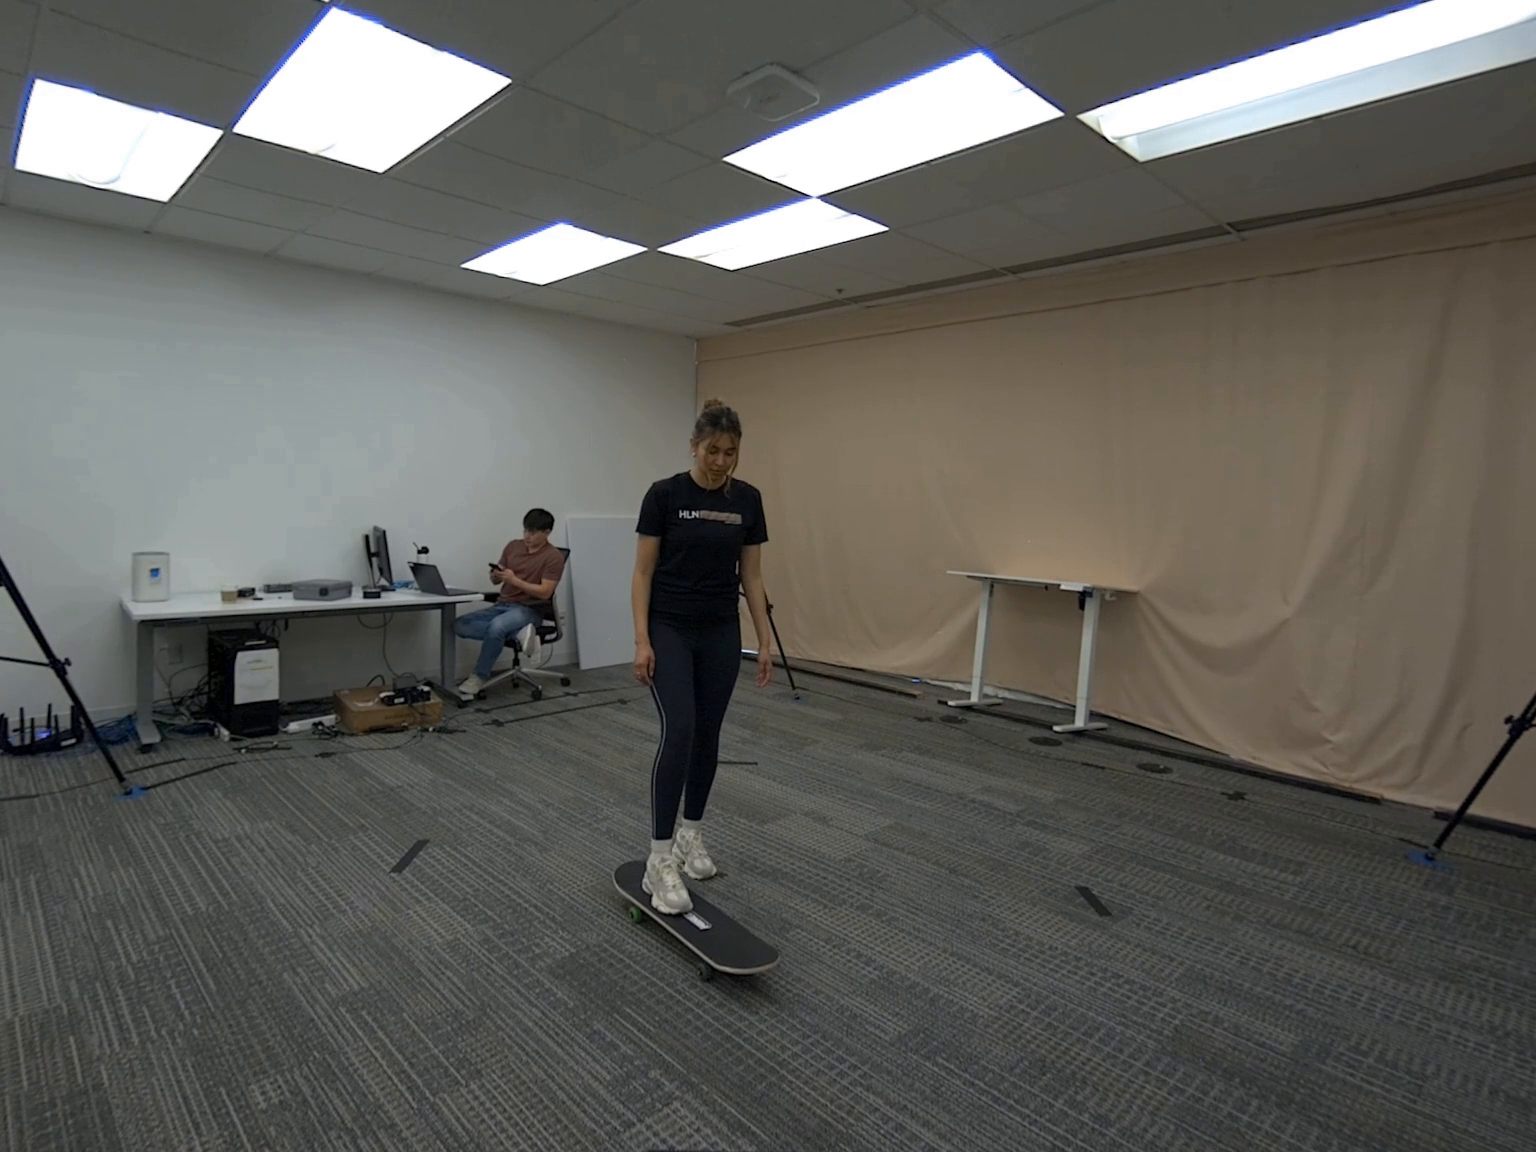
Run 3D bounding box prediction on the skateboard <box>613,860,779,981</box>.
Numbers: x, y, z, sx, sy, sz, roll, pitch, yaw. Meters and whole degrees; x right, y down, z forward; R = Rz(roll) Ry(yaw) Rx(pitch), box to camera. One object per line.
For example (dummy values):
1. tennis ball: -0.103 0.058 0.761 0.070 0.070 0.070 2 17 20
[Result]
1. skateboard: -0.257 1.092 2.634 0.189 0.110 0.805 -3 7 -37
